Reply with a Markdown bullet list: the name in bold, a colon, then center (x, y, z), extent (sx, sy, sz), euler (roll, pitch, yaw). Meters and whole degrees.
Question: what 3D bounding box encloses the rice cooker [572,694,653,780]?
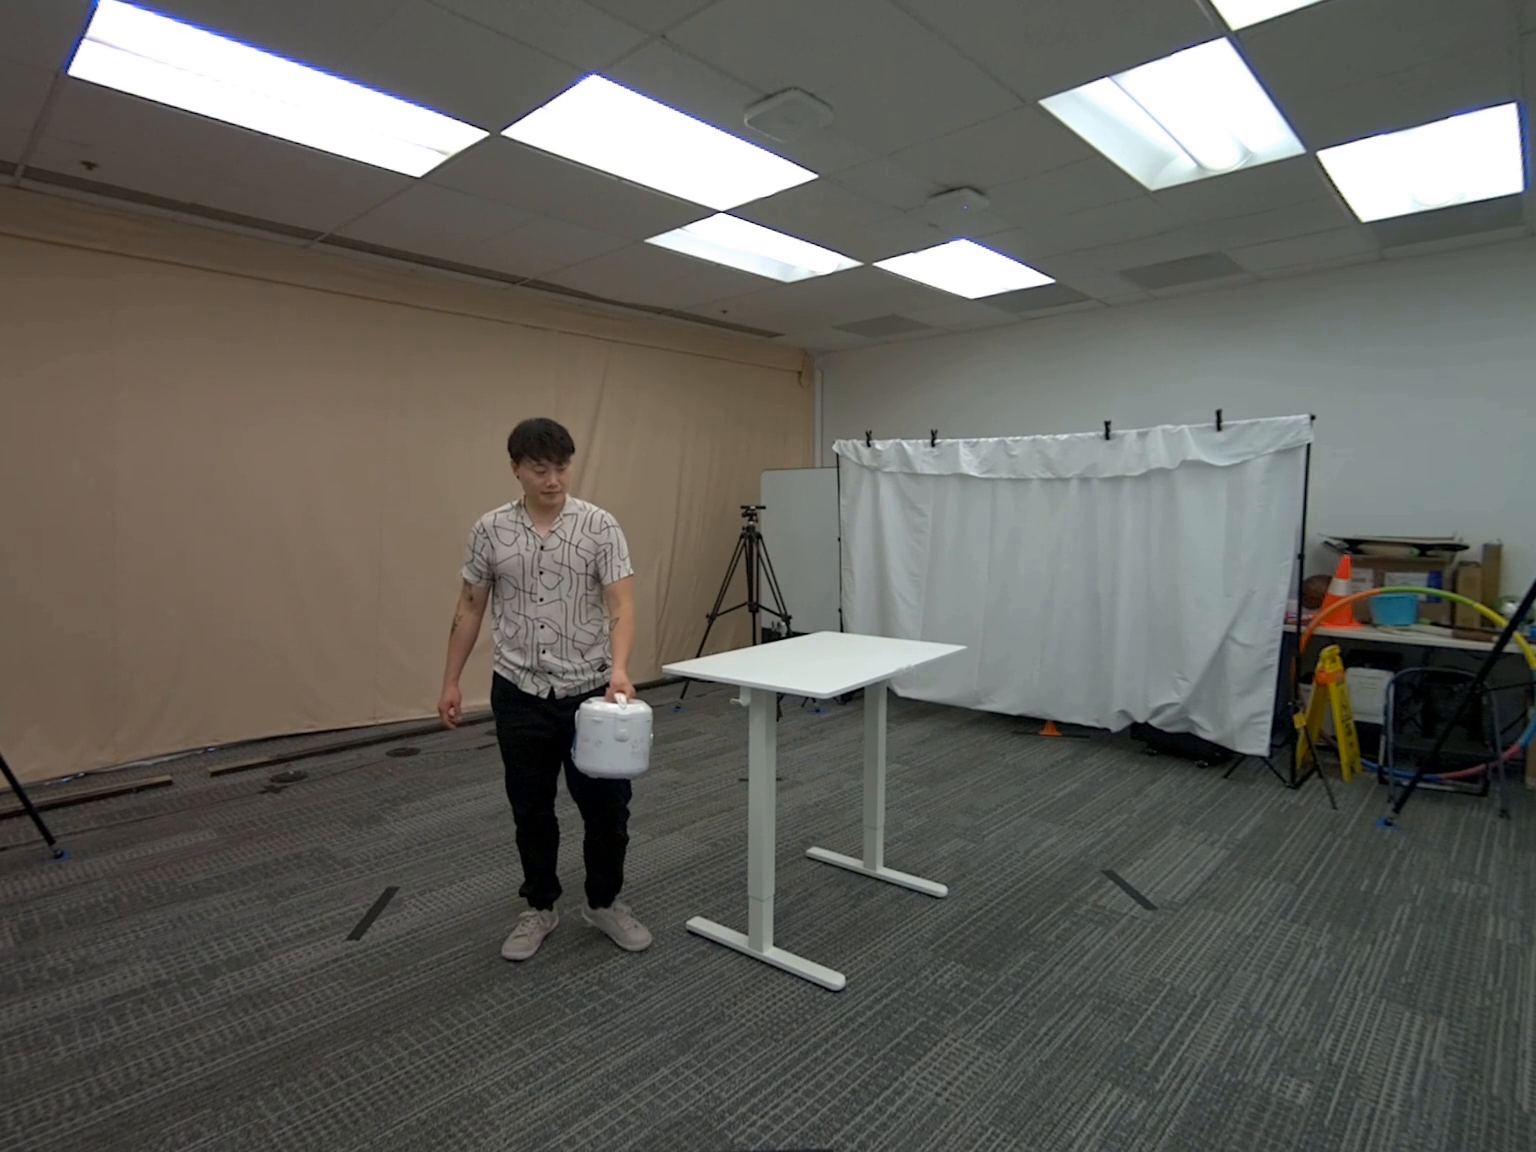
- **rice cooker**: center (-0.433, 0.450, 2.412), extent (0.213, 0.233, 0.225), euler (5, -4, -21)
